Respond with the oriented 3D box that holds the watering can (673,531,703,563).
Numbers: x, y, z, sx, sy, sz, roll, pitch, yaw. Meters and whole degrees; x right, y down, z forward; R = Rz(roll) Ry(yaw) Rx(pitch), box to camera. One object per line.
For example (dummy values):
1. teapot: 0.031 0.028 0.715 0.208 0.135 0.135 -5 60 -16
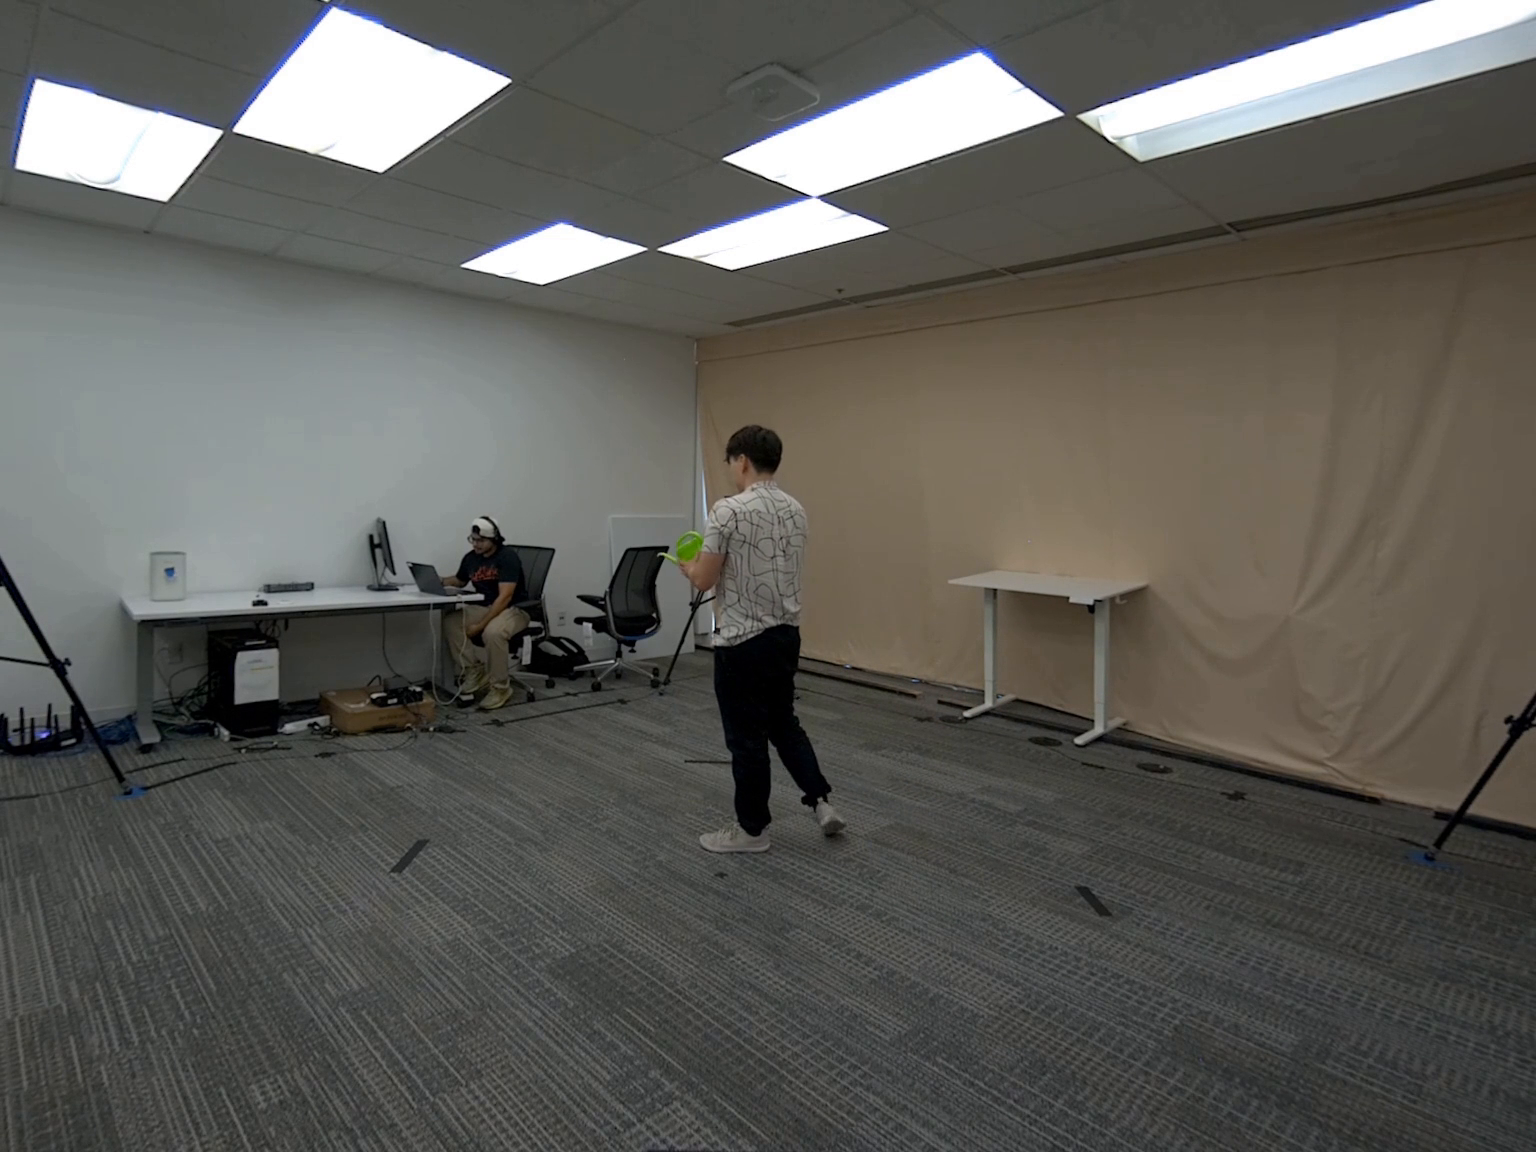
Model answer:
1. watering can: -0.339 -0.077 3.558 0.097 0.178 0.279 -26 -7 -35
